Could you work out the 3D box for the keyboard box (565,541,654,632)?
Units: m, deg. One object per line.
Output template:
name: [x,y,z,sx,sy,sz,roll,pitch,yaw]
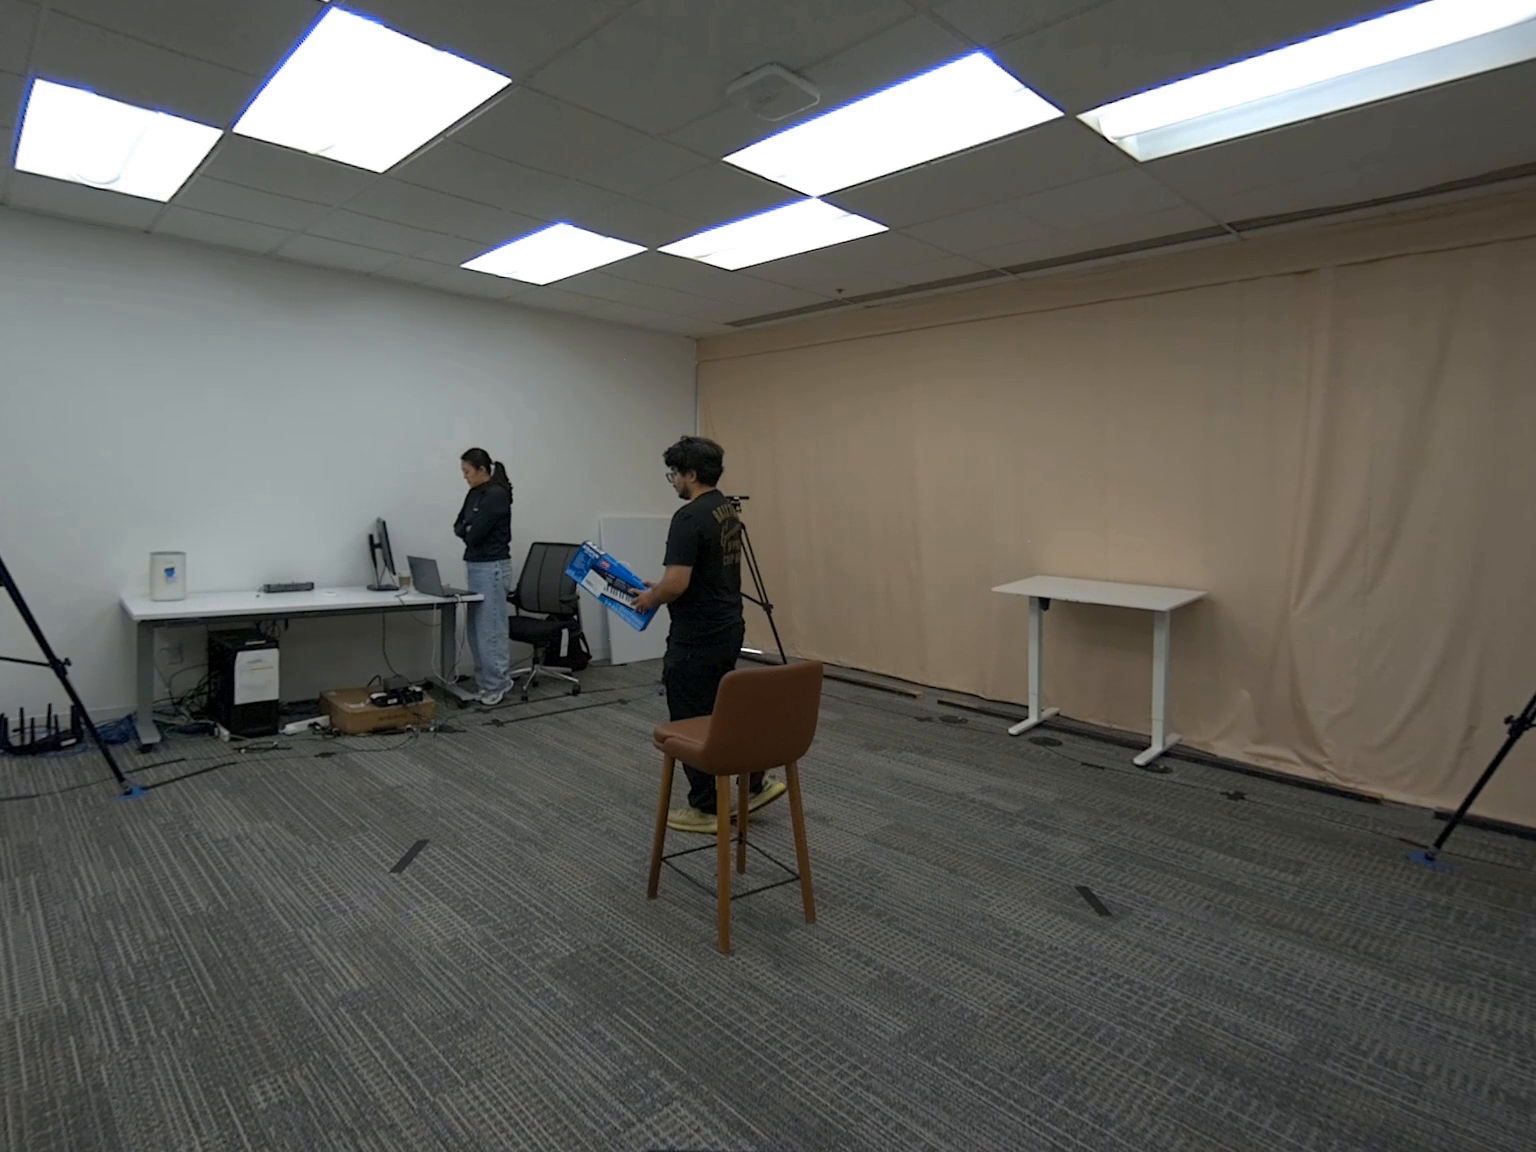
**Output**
keyboard box: [-0.671,0.043,3.662,0.442,0.175,0.058,36,11,10]
